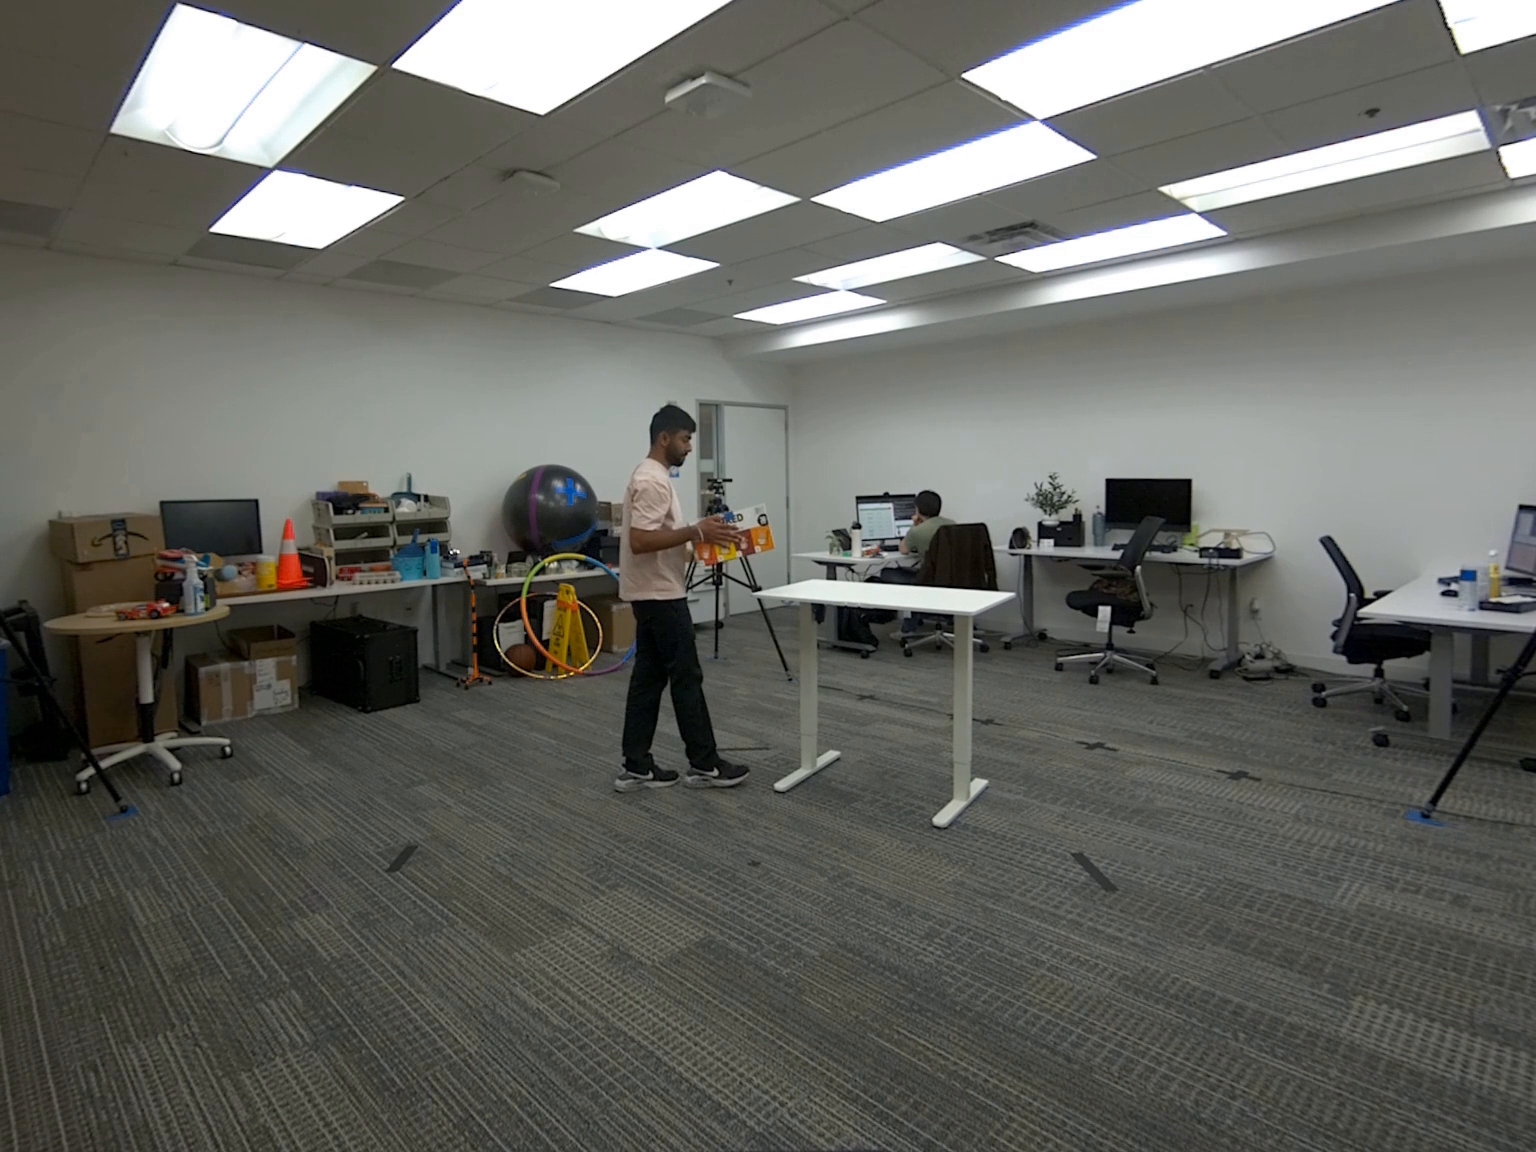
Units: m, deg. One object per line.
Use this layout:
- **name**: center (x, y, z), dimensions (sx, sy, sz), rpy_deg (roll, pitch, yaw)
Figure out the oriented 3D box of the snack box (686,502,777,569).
- **snack box**: center (-0.179, -0.188, 3.886), dimensions (0.339, 0.205, 0.408), rpy_deg (-14, 4, -5)
